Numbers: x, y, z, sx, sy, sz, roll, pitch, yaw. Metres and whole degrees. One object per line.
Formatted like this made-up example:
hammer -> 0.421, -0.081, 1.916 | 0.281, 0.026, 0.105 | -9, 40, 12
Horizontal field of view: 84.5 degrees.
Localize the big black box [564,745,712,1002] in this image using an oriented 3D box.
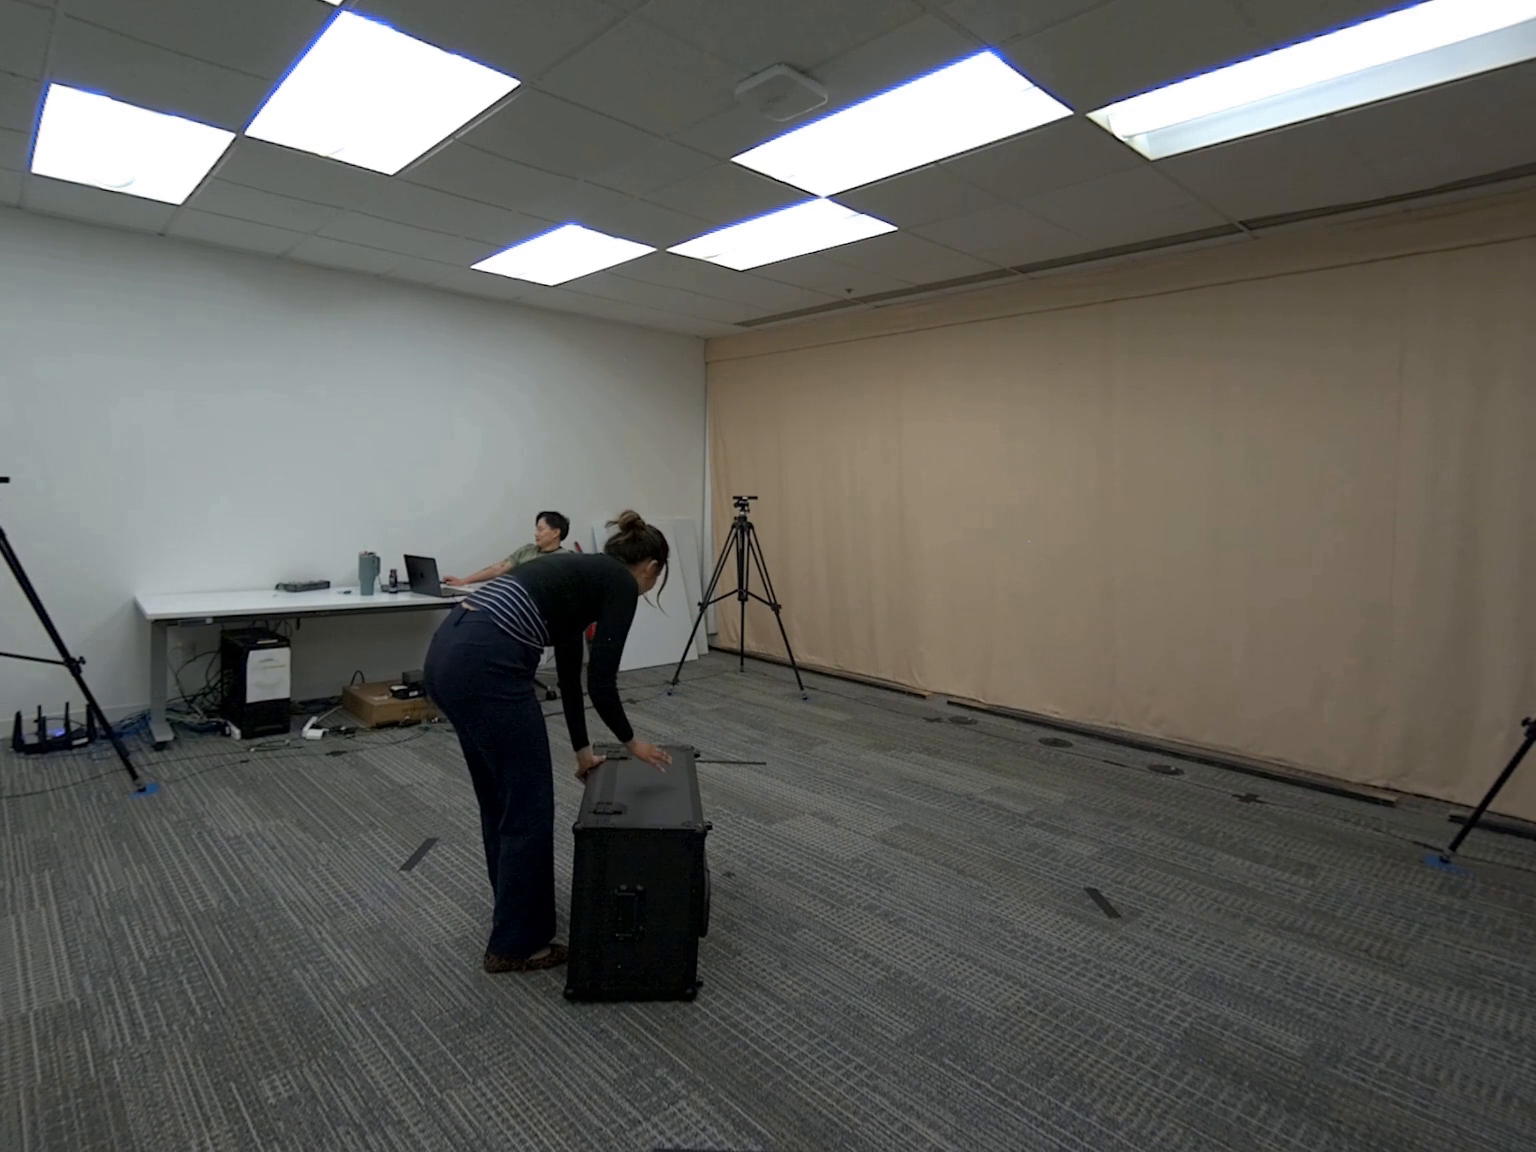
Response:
big black box -> -0.405, 0.879, 2.706 | 0.394, 0.520, 0.869 | 3, 4, -8
